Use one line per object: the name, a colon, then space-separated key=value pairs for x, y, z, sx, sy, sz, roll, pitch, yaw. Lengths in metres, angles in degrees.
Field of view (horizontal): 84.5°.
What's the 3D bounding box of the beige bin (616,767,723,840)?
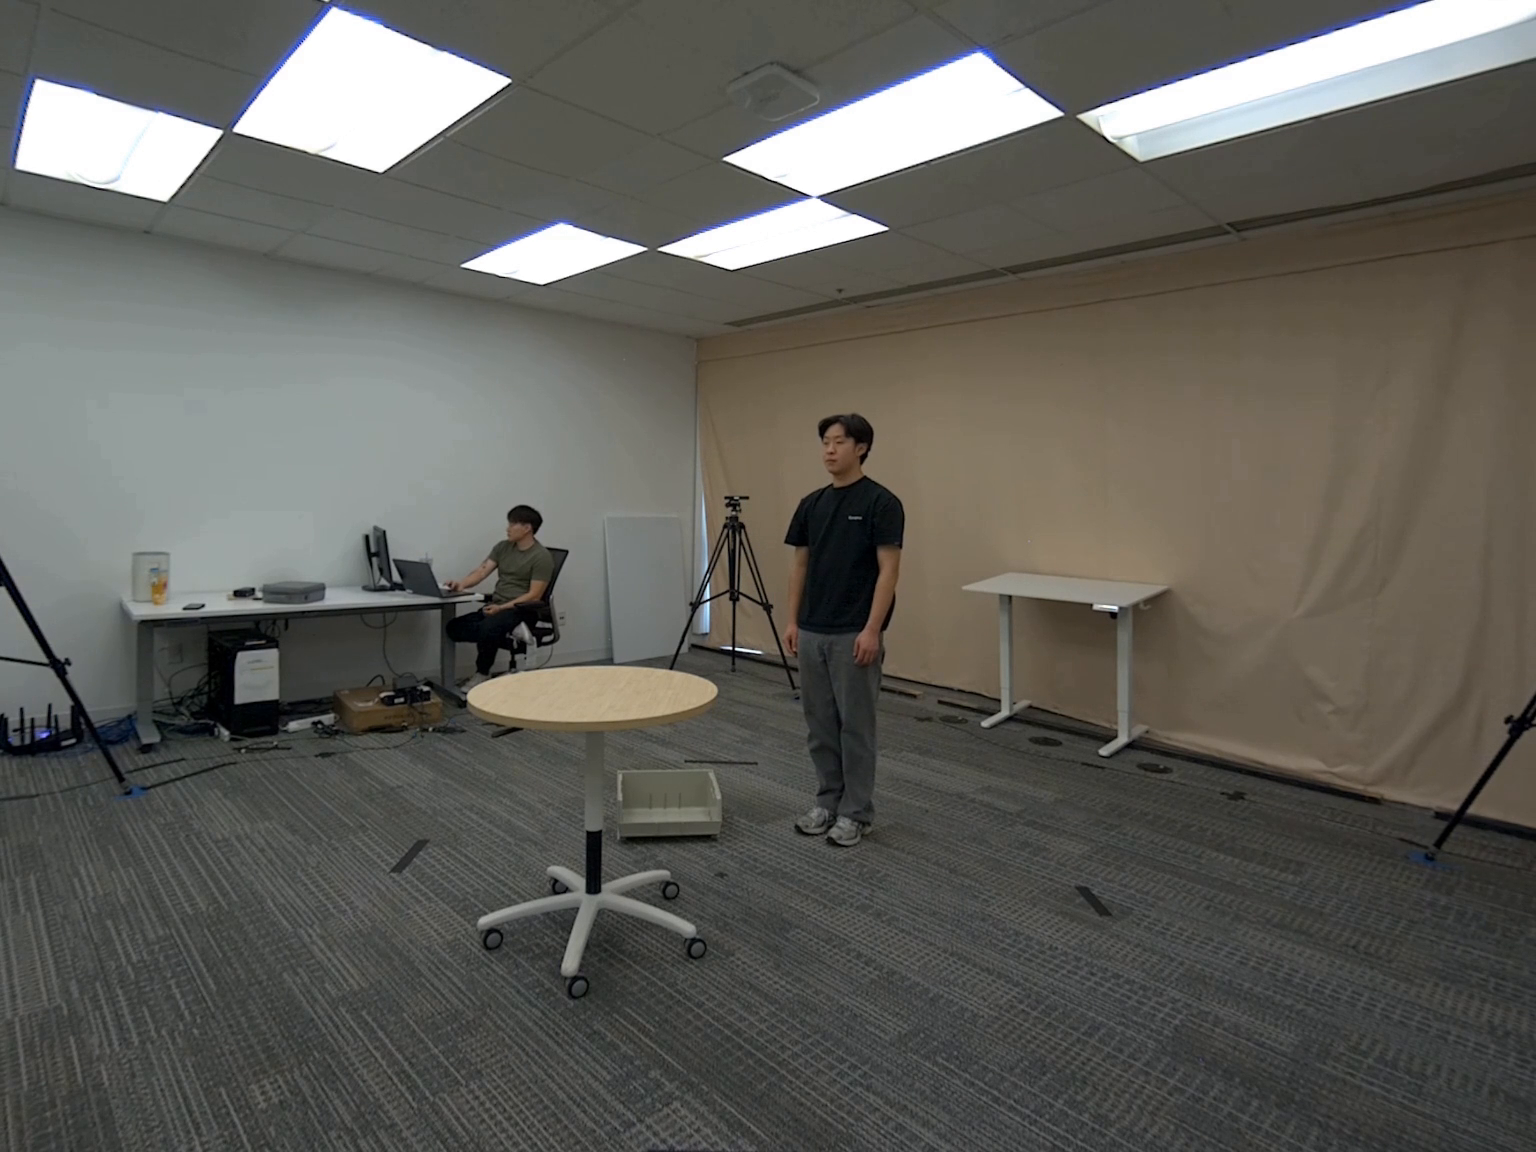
beige bin: x=-0.433 y=0.974 z=3.547 sx=0.419 sy=0.188 sz=0.381 roll=0 pitch=4 yaw=-10
